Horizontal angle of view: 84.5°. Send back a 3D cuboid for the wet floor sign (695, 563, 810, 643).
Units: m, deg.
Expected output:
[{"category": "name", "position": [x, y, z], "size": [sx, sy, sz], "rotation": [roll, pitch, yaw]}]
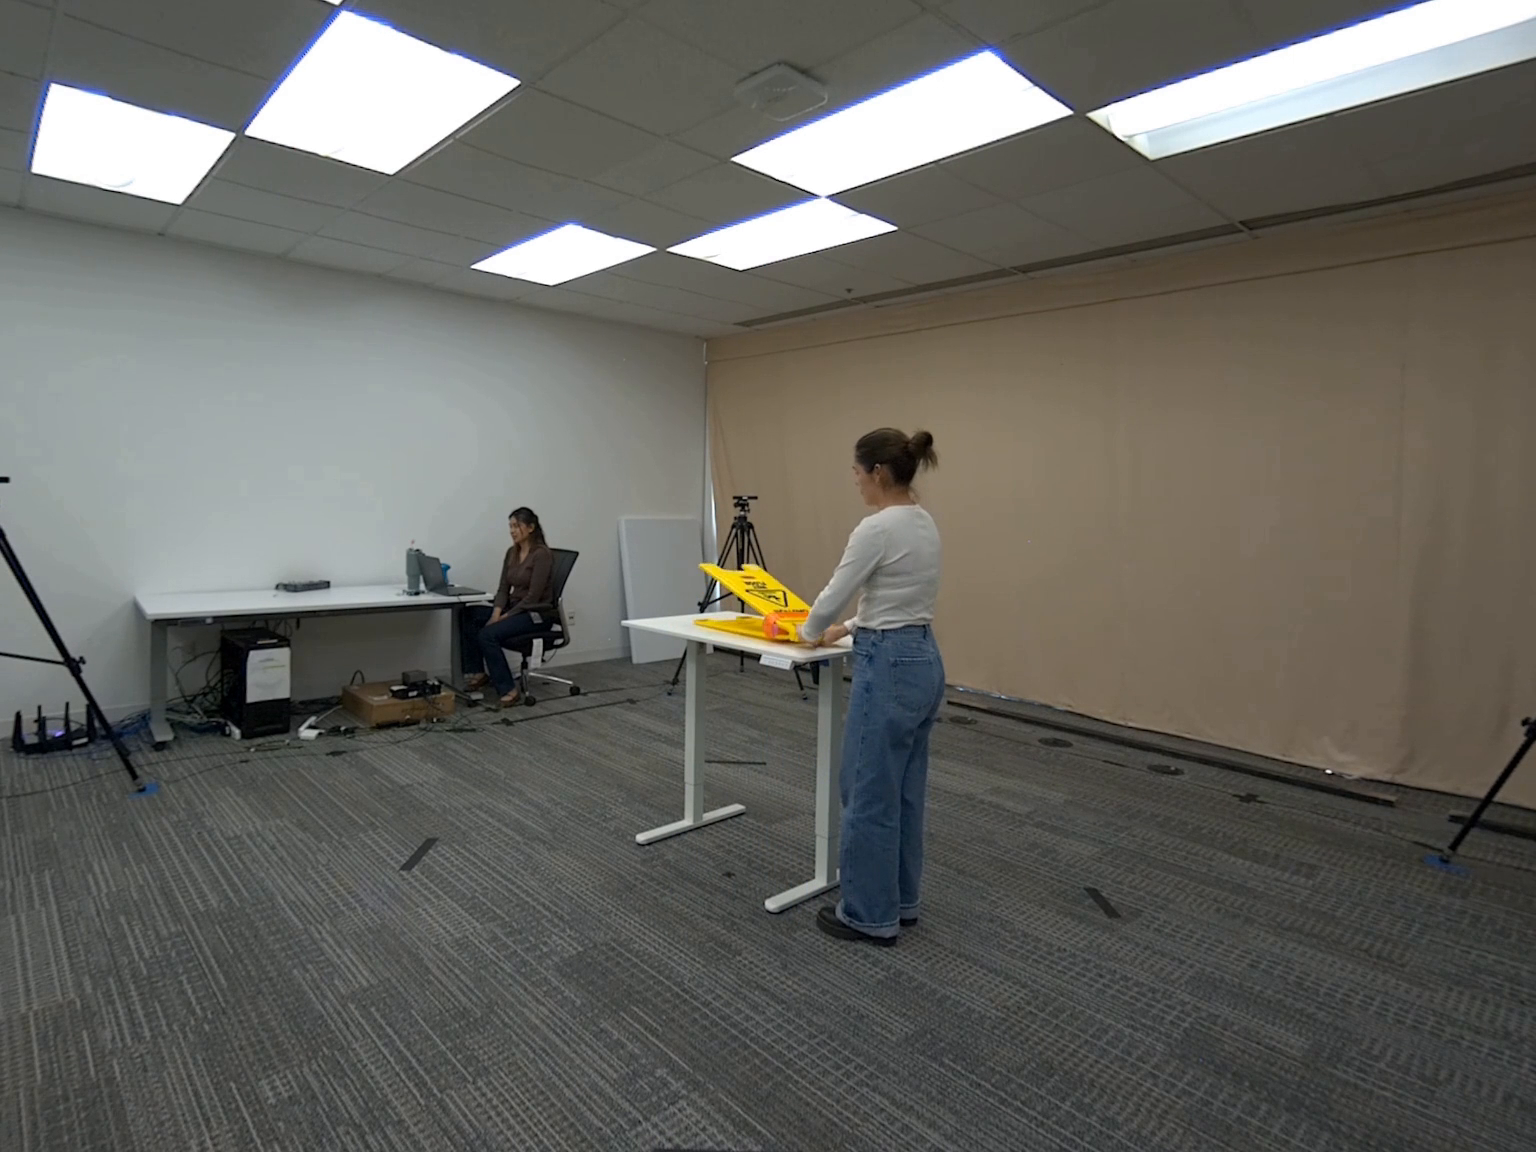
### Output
[{"category": "wet floor sign", "position": [-0.006, 0.152, 3.152], "size": [0.276, 0.288, 0.664], "rotation": [0, 12, -33]}]
